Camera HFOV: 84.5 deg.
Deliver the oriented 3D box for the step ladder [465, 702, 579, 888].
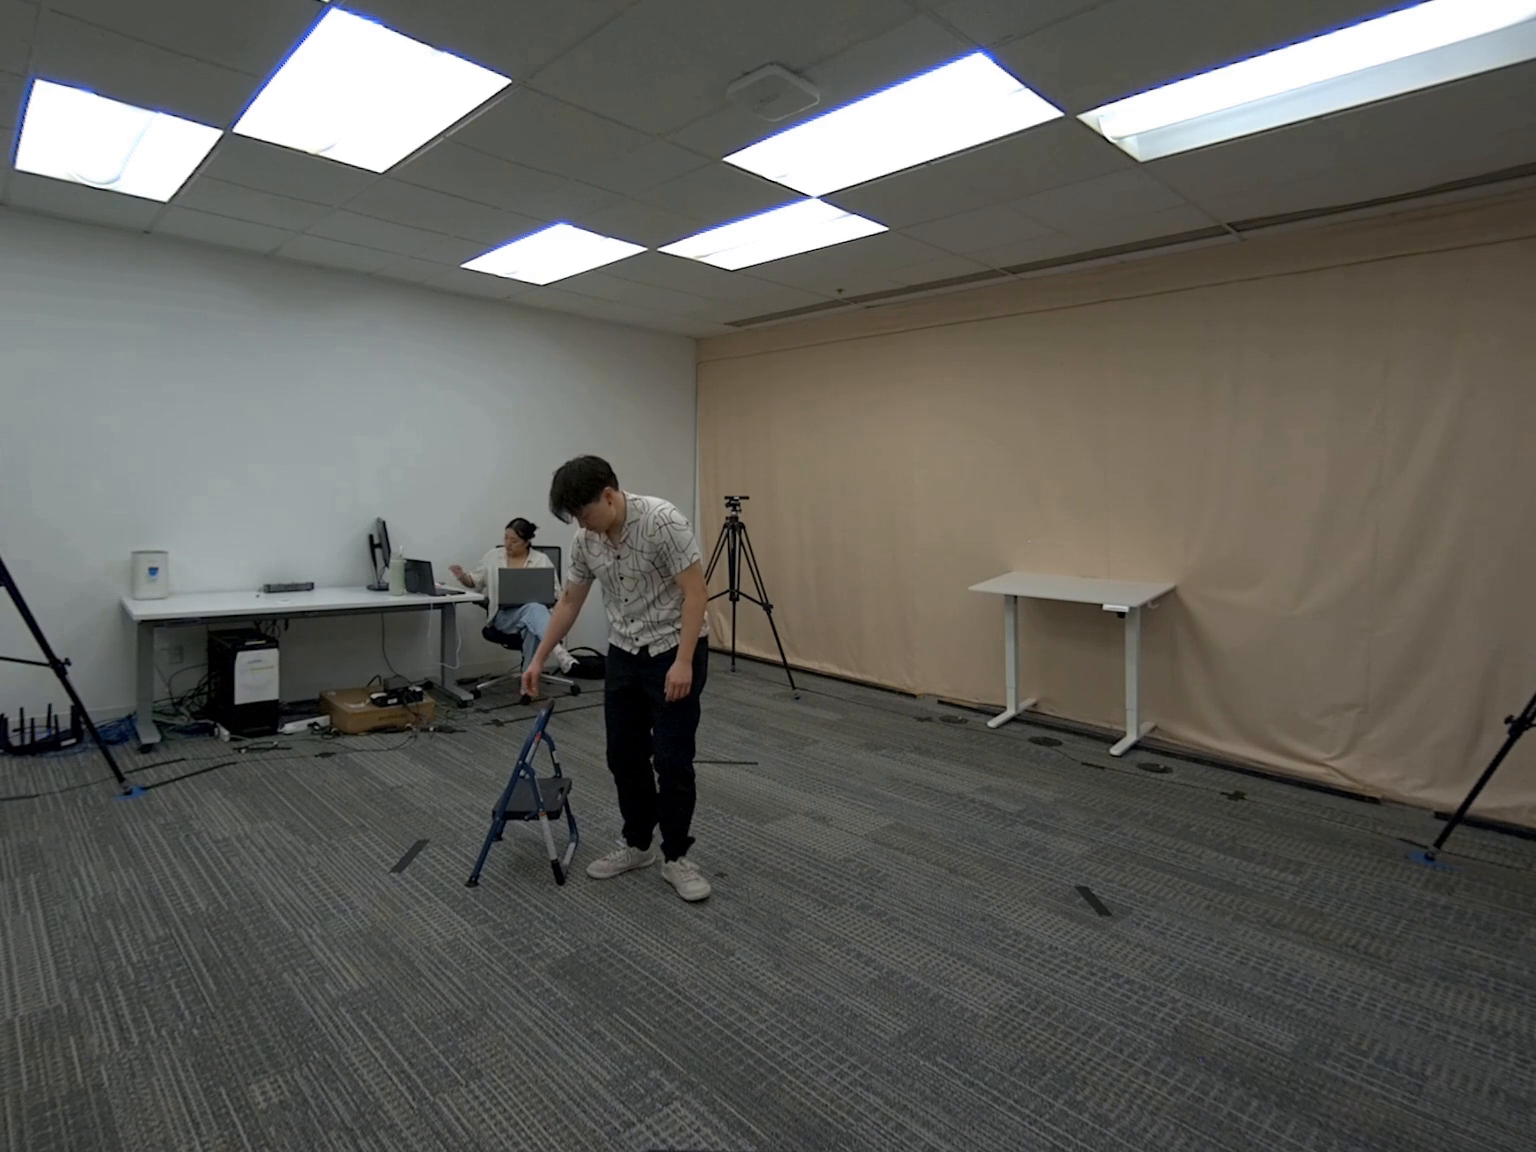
[{"bbox_3d":[-0.912,0.779,3.169,0.348,0.604,0.433,1,4,-5],"label":"step ladder"}]
